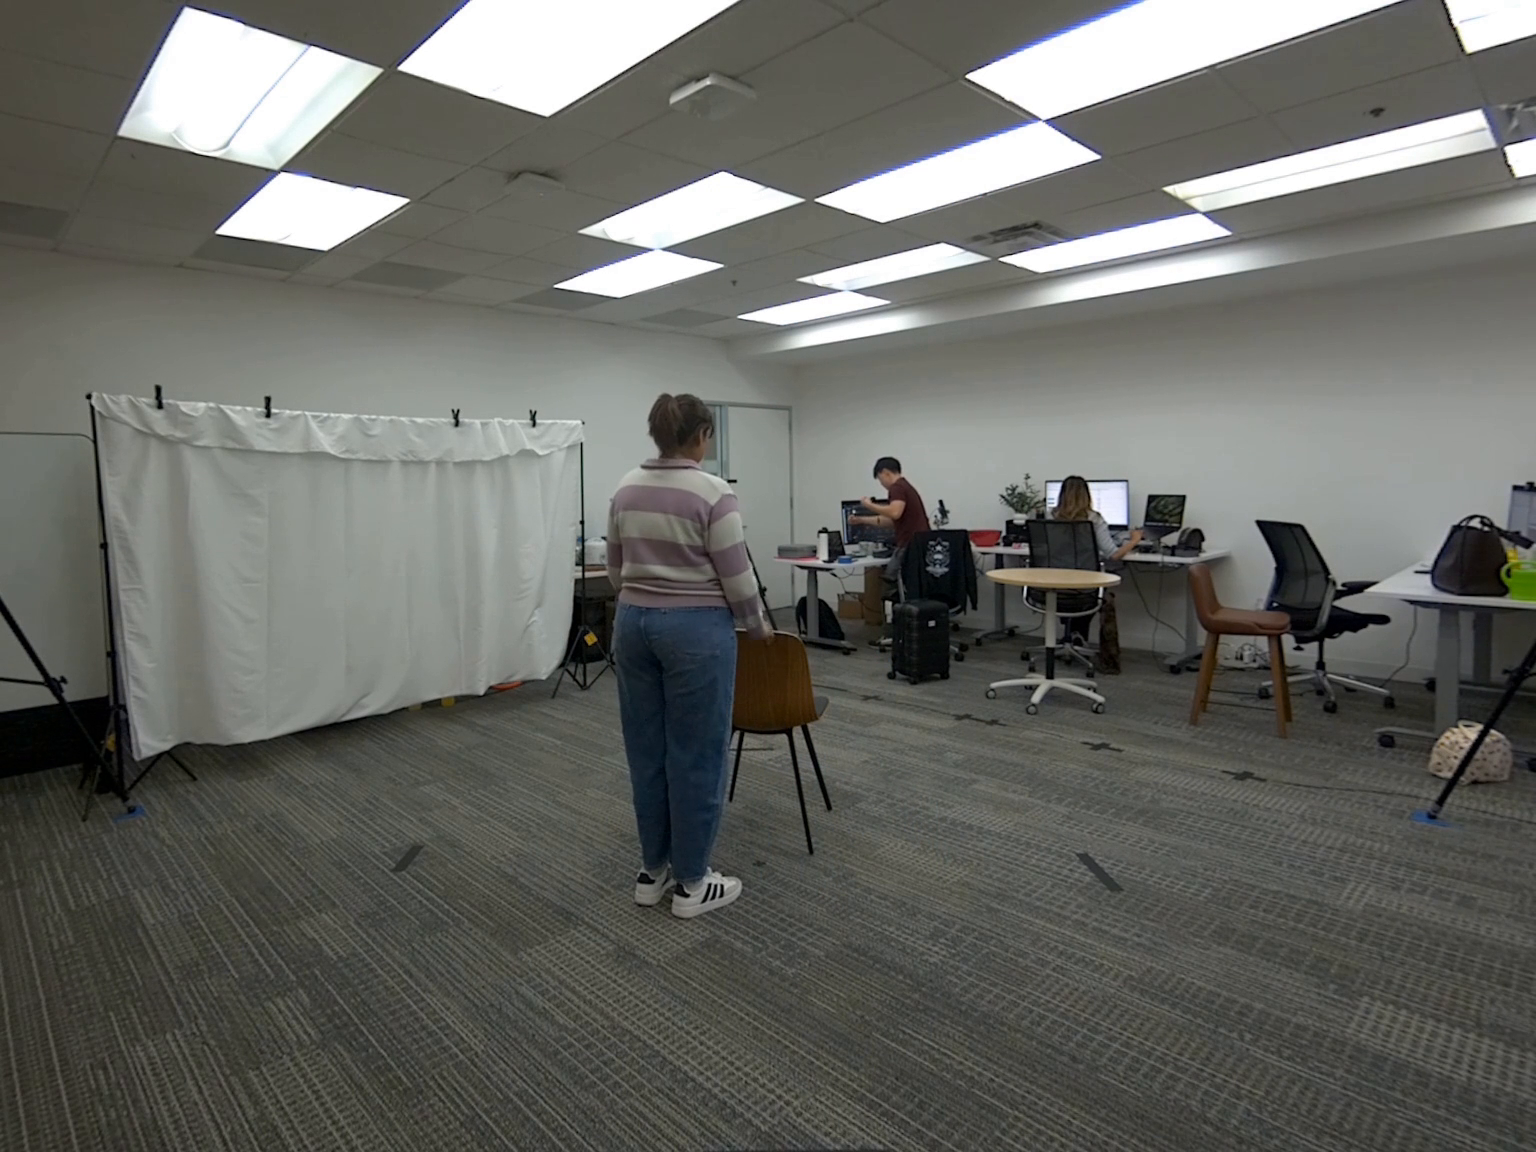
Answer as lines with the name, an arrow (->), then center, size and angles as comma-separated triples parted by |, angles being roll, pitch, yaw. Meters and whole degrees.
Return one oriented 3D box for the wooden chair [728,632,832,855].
wooden chair -> 0.000, 0.584, 3.429 | 0.485, 0.871, 0.519 | 0, 8, 15
